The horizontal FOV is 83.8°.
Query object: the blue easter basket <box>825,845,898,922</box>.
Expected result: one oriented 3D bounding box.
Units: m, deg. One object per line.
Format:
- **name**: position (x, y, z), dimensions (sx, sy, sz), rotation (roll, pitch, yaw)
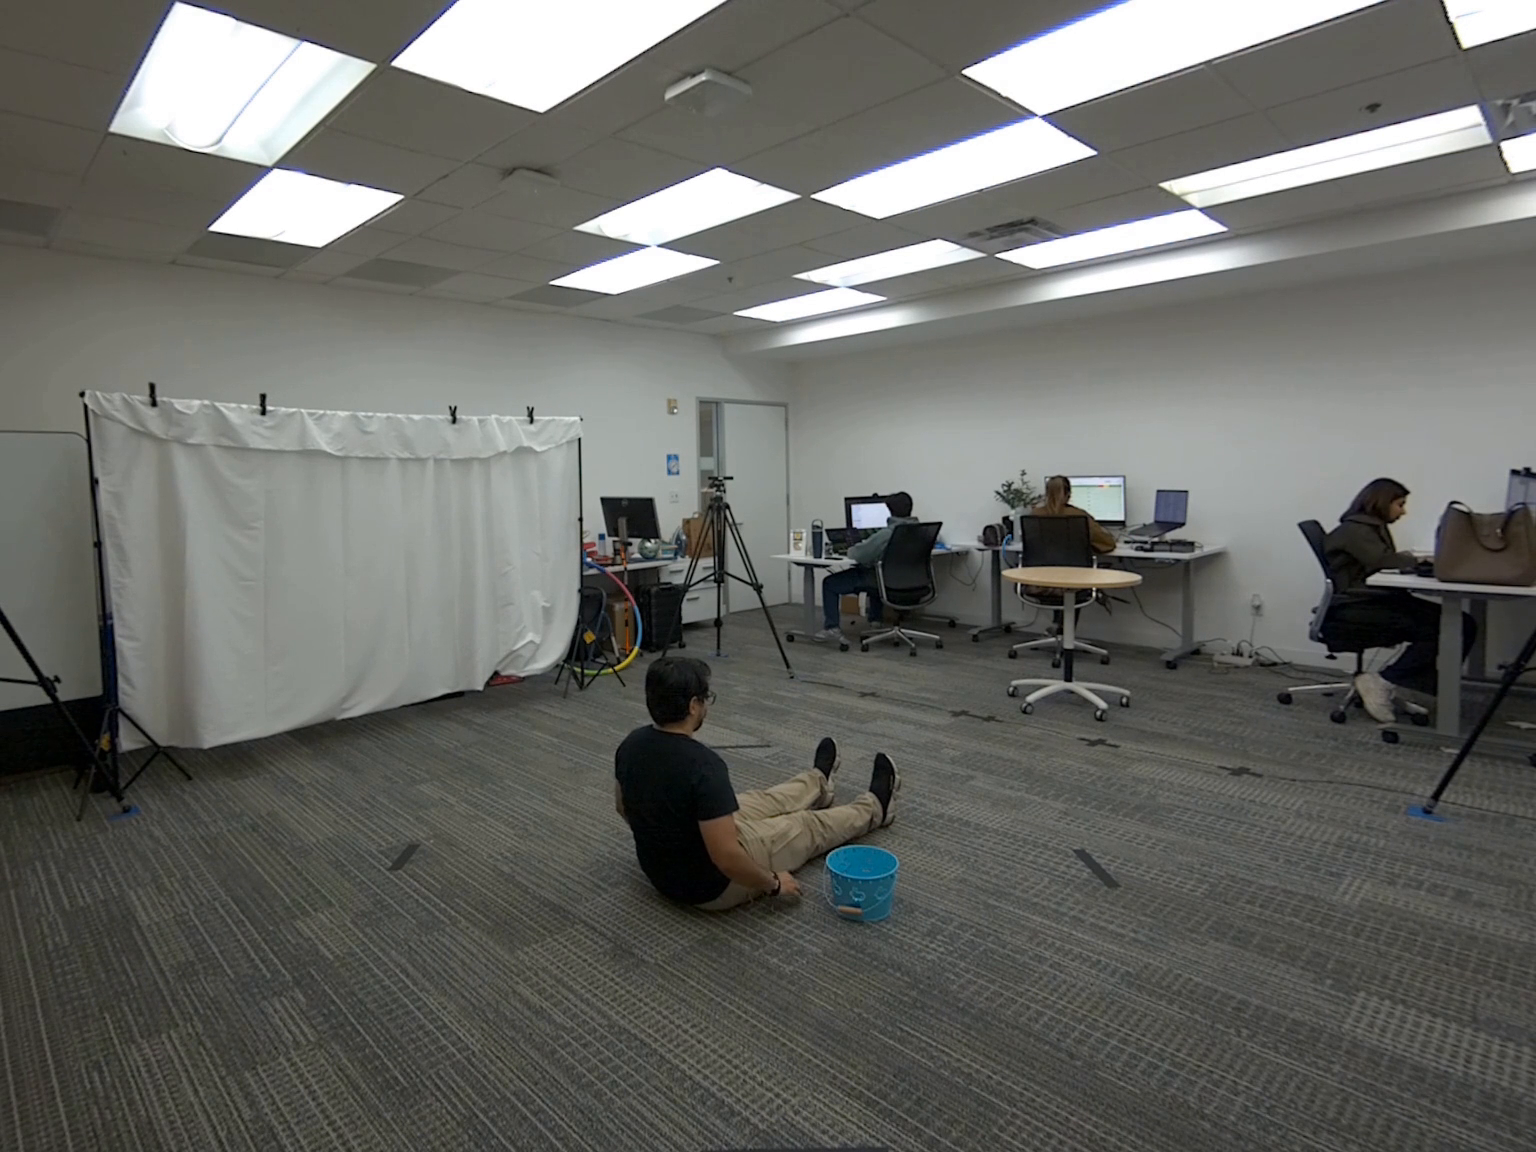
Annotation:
- **blue easter basket**: position (0.296, 0.987, 2.753), dimensions (0.243, 0.155, 0.245), rotation (-1, 5, -2)
